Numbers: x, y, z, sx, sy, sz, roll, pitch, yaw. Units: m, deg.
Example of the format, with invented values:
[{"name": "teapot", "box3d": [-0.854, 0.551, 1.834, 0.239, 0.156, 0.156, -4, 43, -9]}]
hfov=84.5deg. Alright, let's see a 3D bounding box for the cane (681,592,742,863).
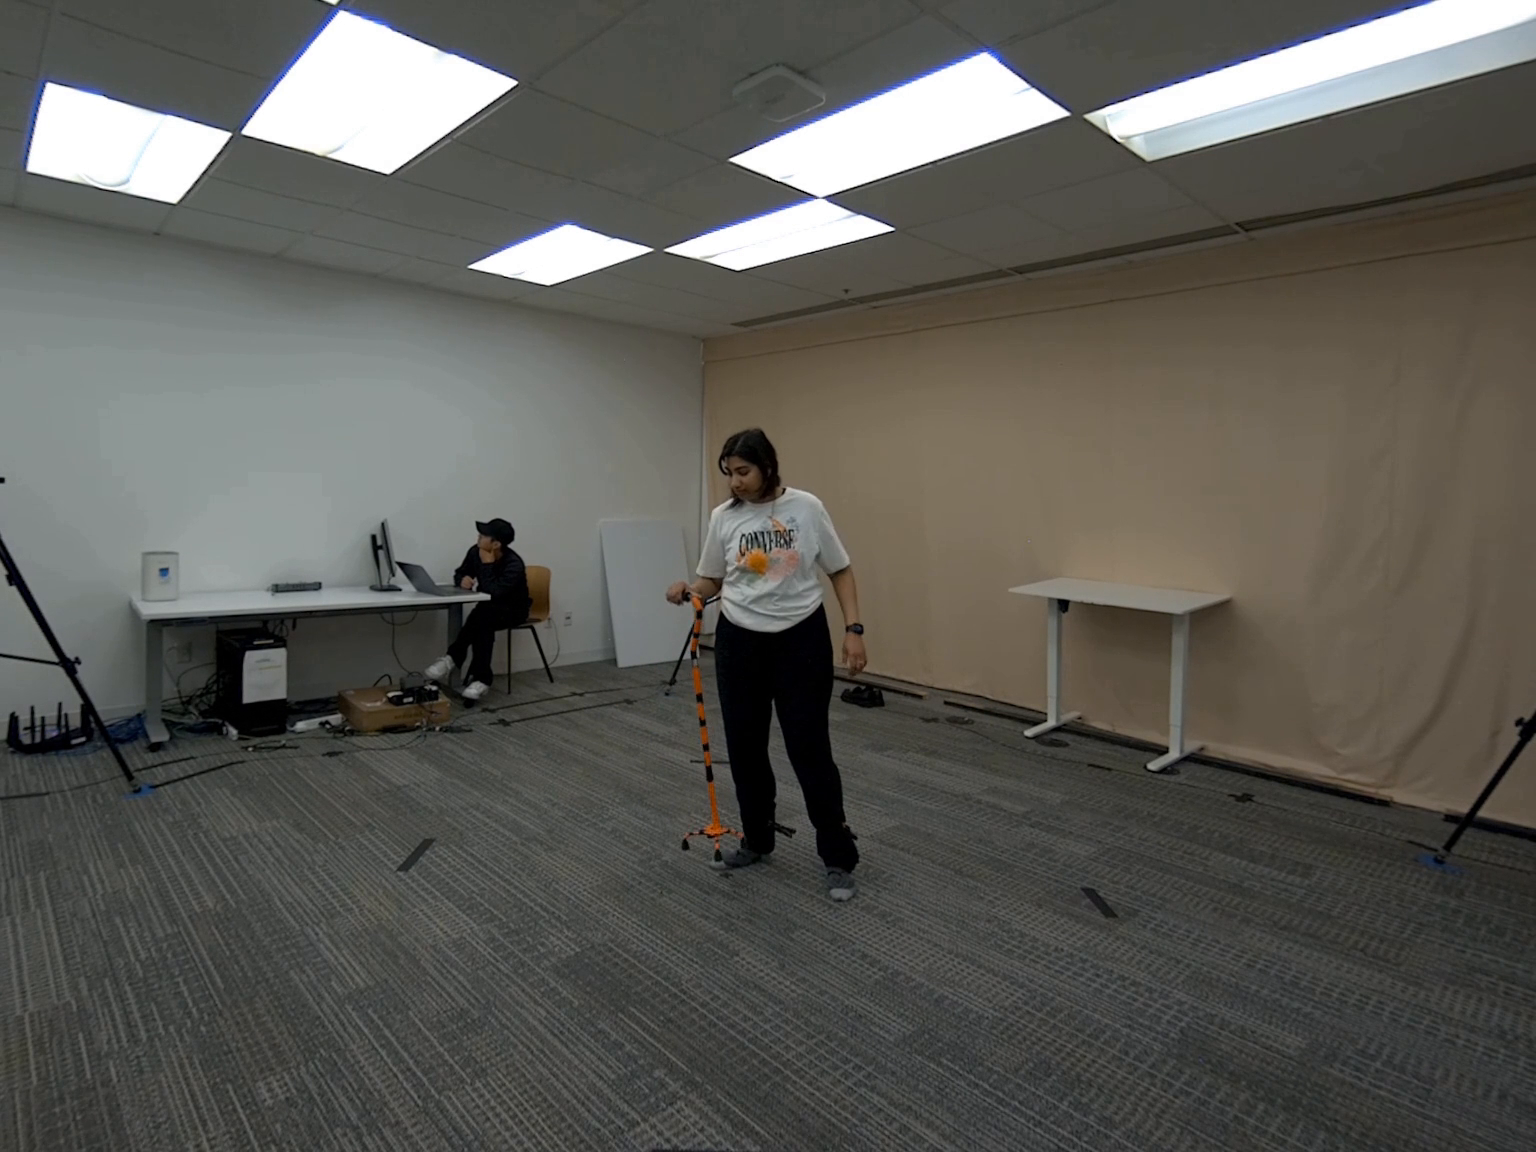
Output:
[{"name": "cane", "box3d": [-0.246, 0.509, 2.946, 0.211, 0.907, 0.148, -4, 2, 45]}]
